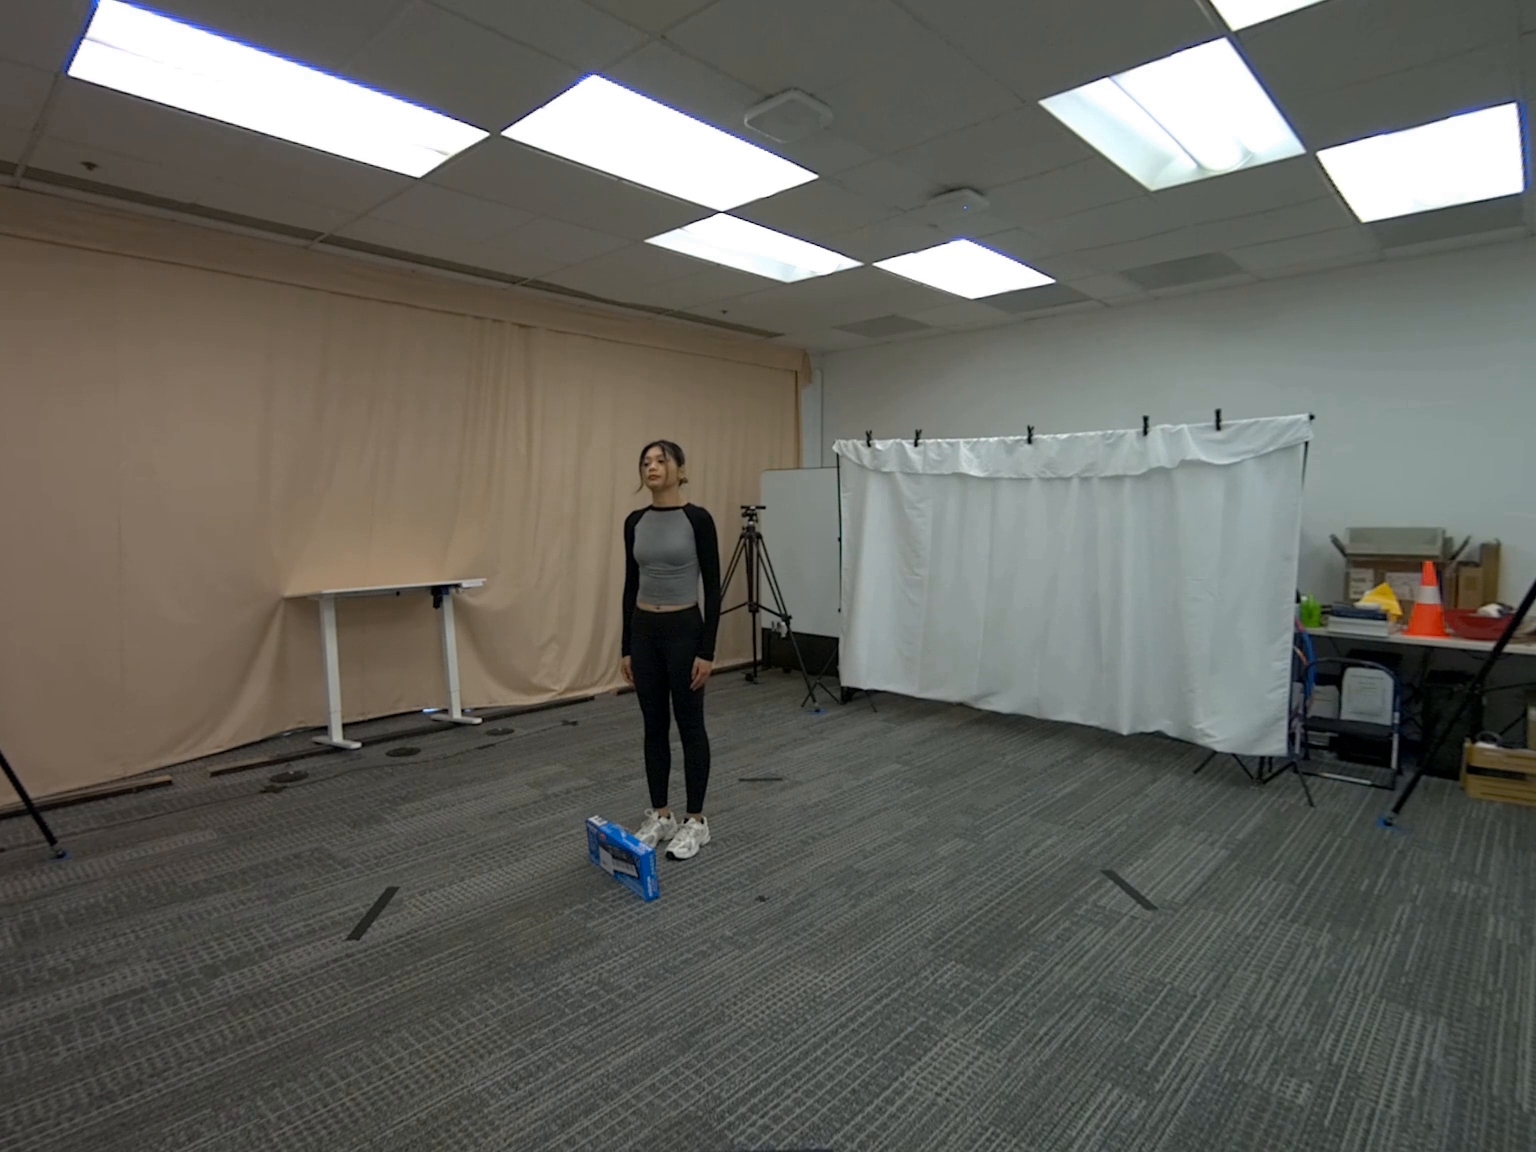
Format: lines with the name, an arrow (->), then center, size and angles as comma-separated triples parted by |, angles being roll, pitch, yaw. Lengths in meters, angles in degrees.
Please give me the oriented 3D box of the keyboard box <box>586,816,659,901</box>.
keyboard box -> -0.549, 1.047, 3.150 | 0.057, 0.175, 0.451 | -9, 8, -37
